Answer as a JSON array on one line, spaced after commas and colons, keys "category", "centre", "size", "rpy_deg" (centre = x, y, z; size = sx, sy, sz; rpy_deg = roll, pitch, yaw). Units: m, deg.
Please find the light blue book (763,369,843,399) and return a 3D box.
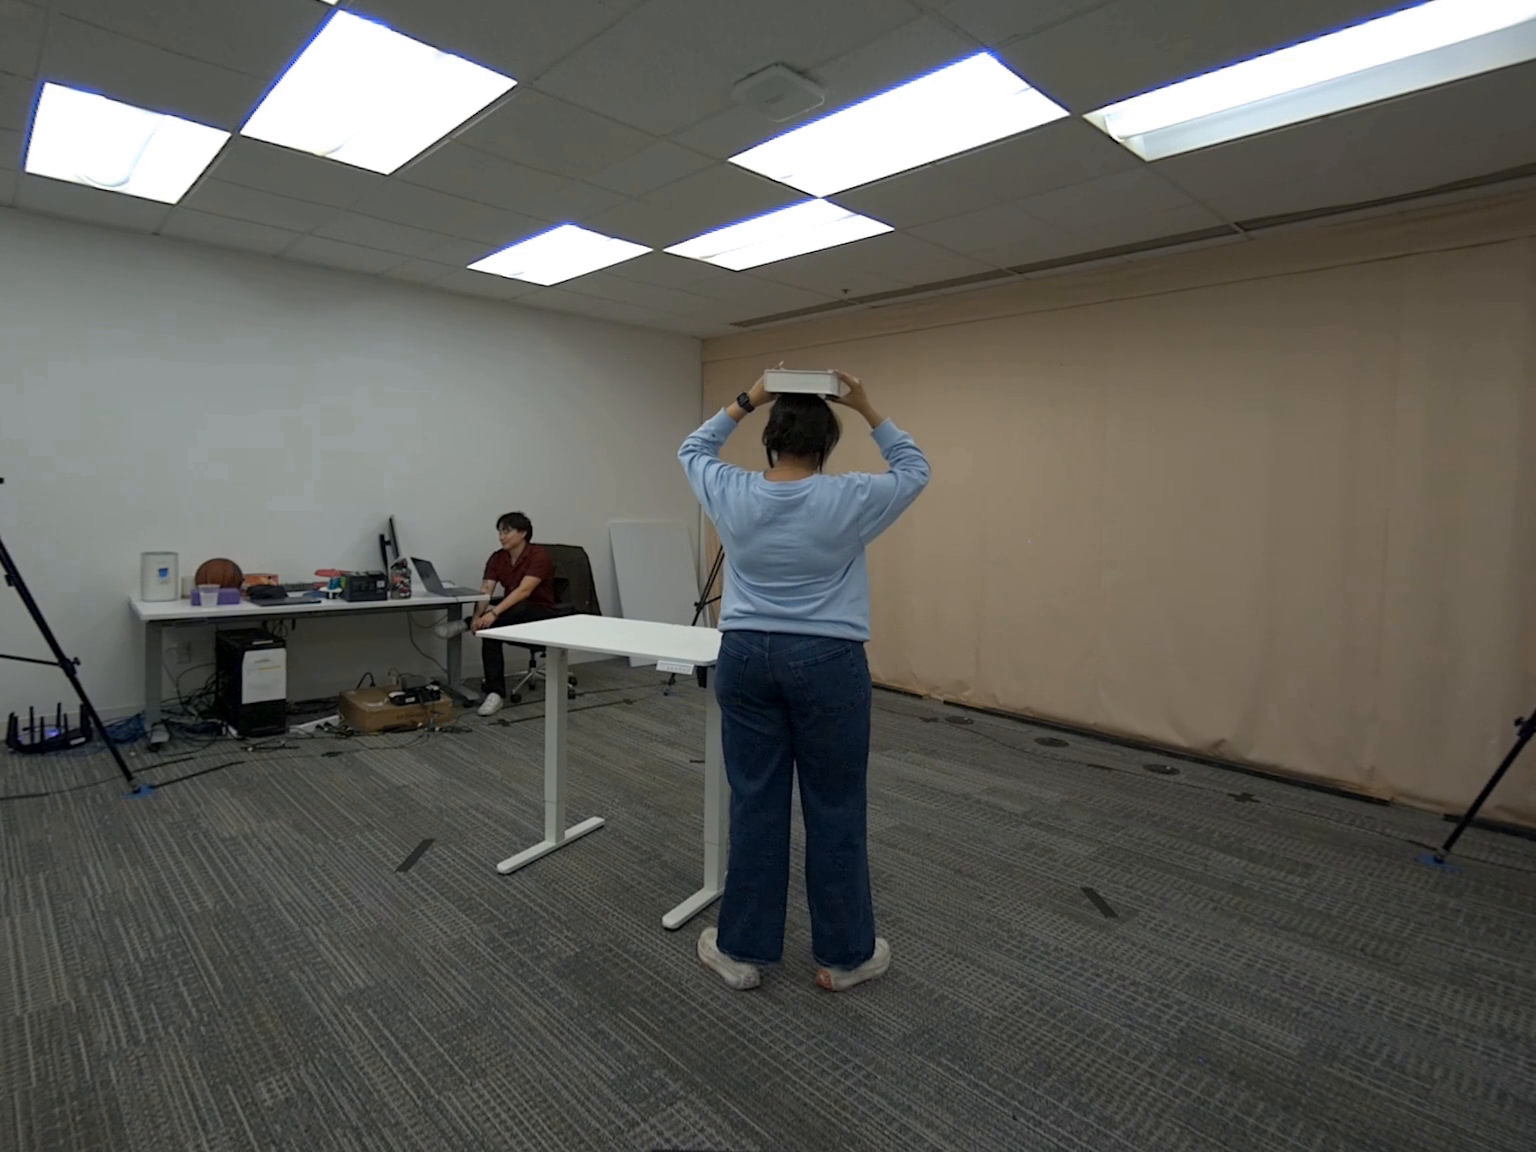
[{"category": "light blue book", "centre": [0.083, -0.546, 2.409], "size": [0.191, 0.059, 0.262], "rpy_deg": [0, 6, 0]}]
